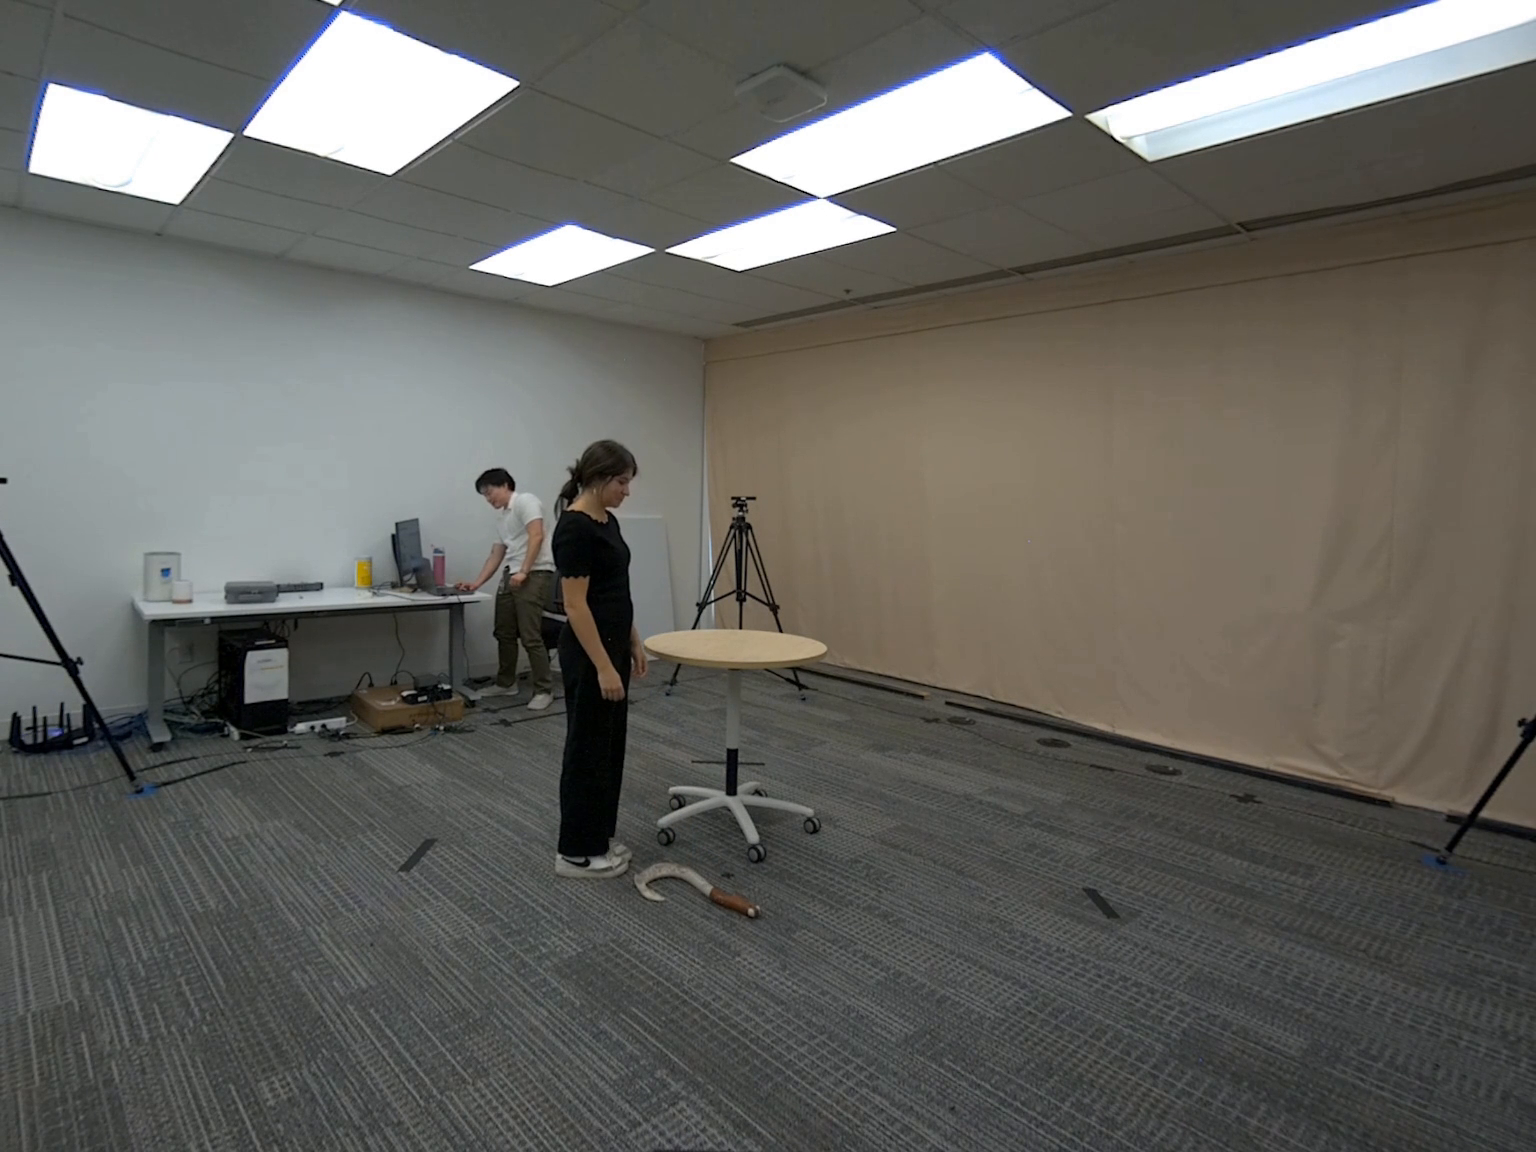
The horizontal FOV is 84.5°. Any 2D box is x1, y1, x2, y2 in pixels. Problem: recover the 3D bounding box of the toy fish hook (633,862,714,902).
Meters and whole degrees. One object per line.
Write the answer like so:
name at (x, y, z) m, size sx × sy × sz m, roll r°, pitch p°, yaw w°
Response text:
toy fish hook at (-0.267, 1.106, 2.914) m, size 0.519 × 0.048 × 0.221 m, roll 5°, pitch 15°, yaw 41°
